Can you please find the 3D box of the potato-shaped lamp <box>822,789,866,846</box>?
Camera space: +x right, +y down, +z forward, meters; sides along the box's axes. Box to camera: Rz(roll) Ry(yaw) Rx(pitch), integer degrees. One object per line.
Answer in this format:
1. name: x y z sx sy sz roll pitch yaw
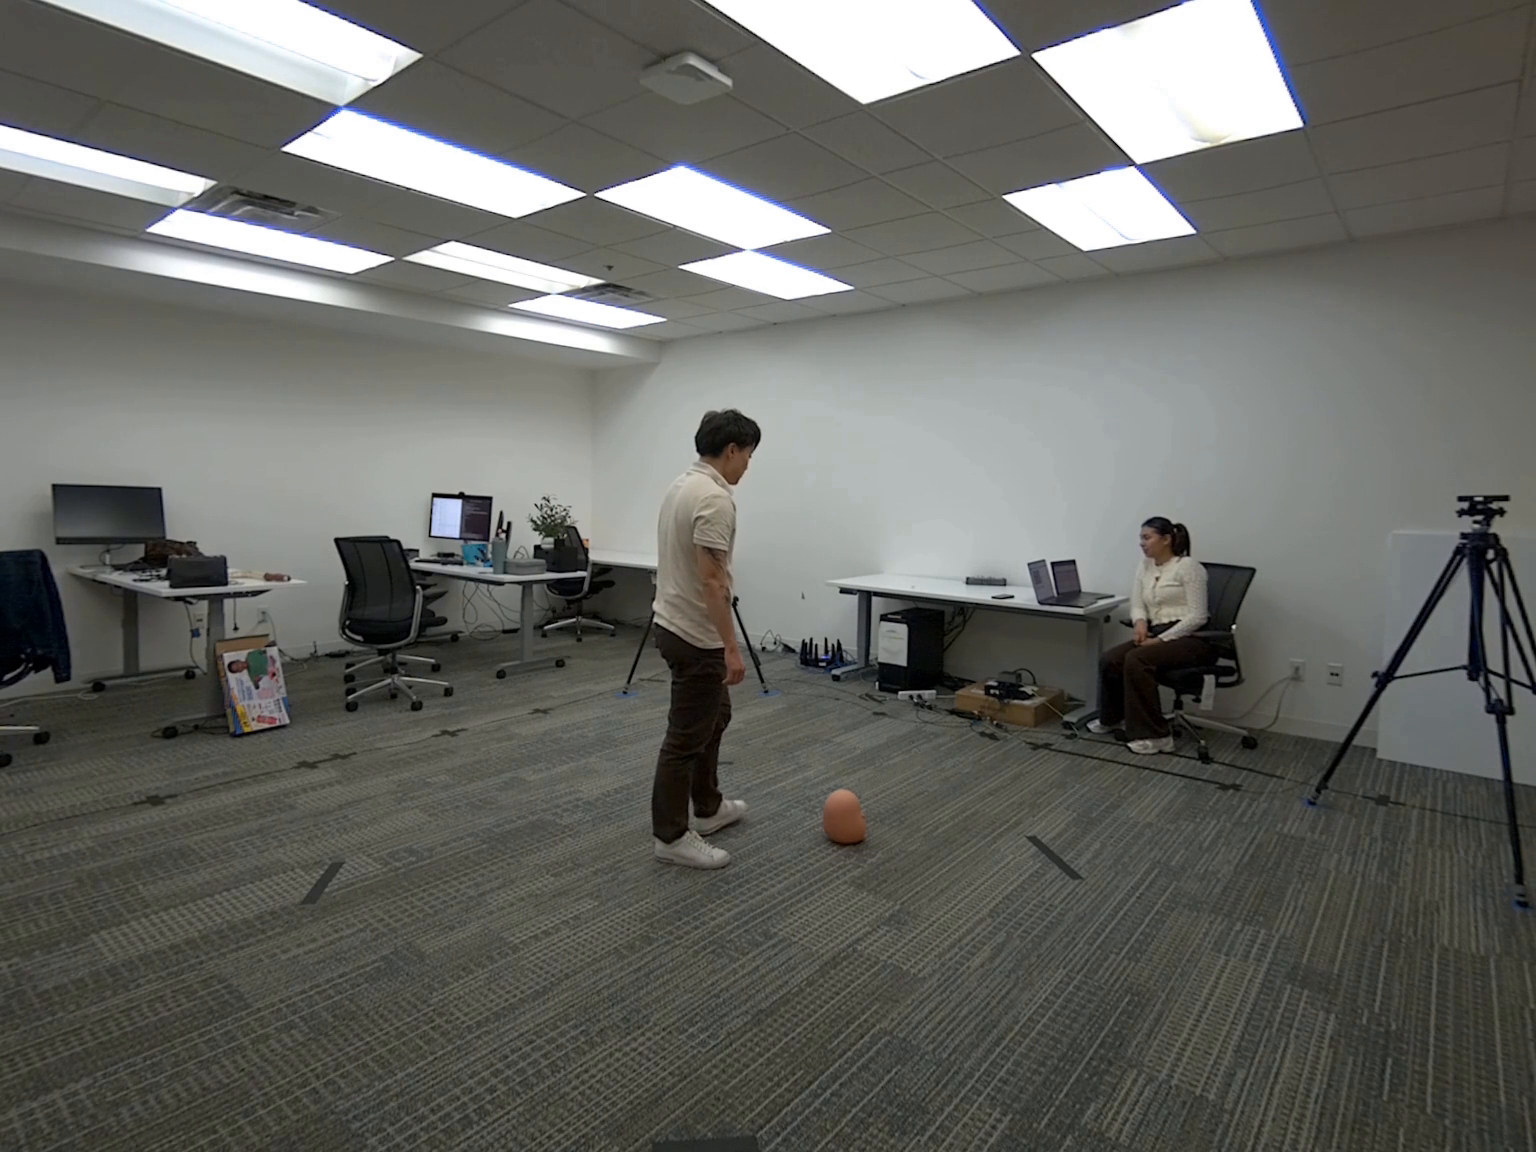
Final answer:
1. potato-shaped lamp: 0.295 0.950 3.391 0.167 0.197 0.169 0 4 -27
